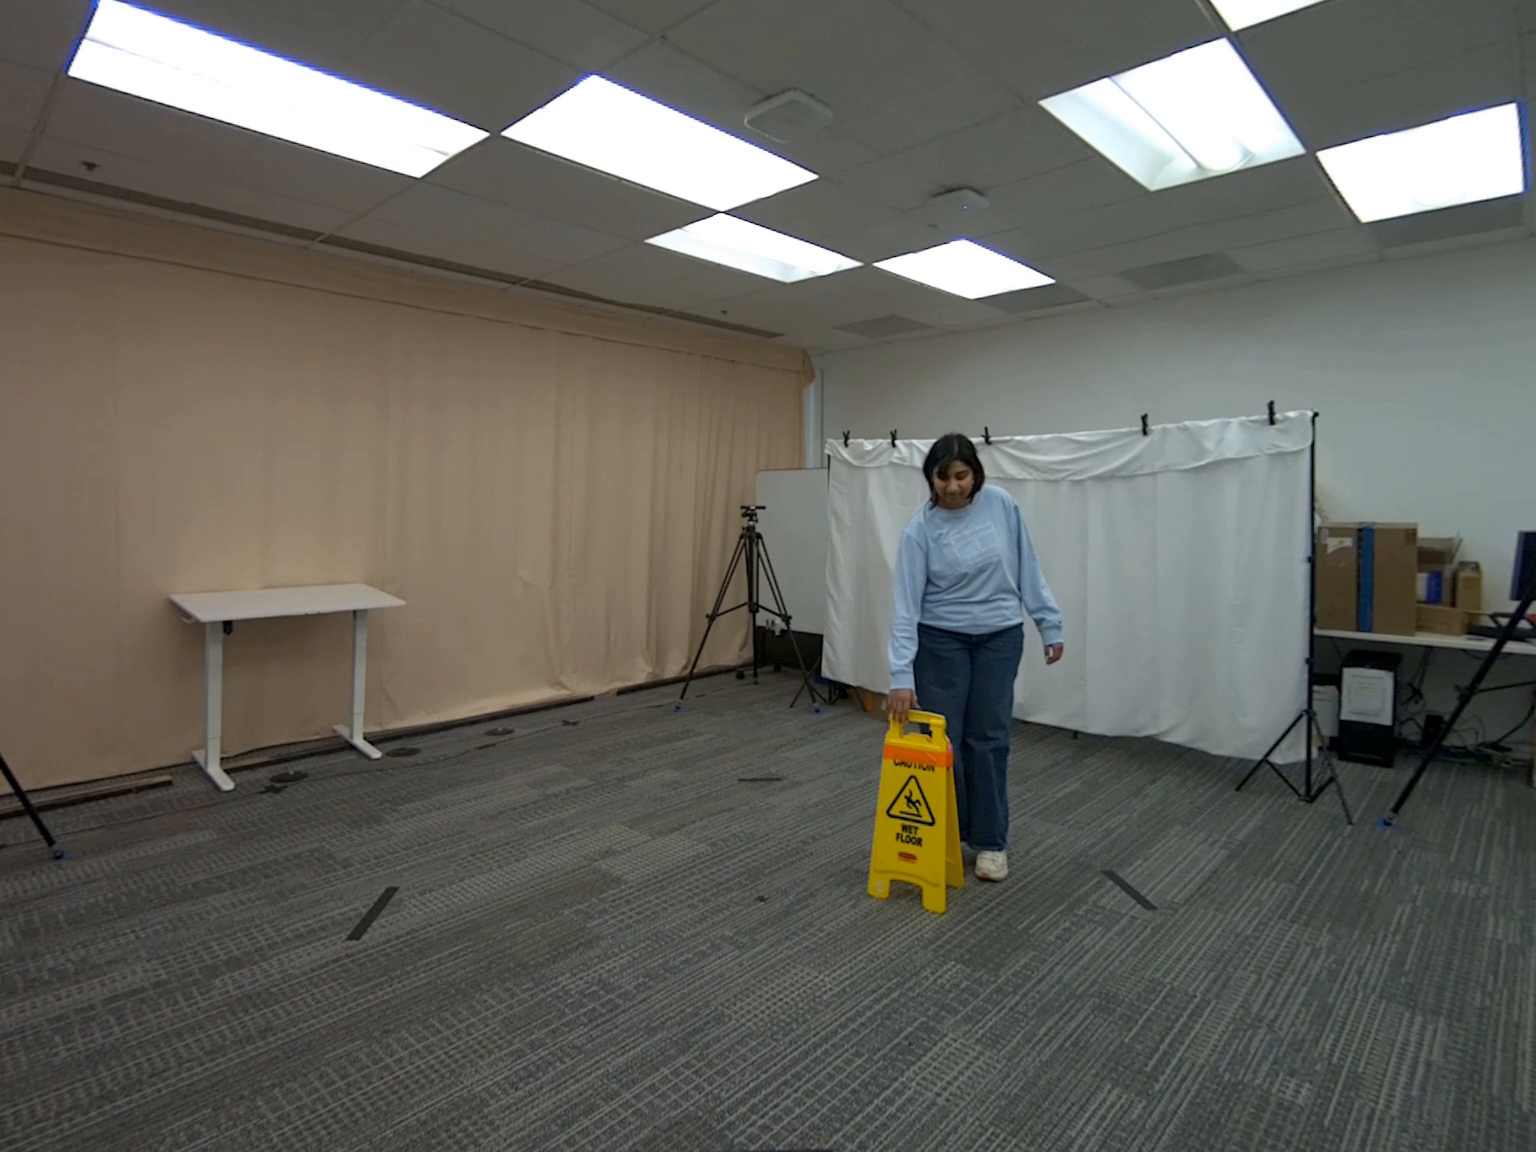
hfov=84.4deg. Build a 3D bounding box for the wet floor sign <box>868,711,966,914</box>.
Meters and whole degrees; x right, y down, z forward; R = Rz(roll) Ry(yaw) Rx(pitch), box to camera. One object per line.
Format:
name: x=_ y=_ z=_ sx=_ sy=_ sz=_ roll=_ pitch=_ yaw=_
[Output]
wet floor sign: x=0.545 y=0.813 z=3.029 sx=0.290 sy=0.645 sz=0.282 roll=2 pitch=3 yaw=29
